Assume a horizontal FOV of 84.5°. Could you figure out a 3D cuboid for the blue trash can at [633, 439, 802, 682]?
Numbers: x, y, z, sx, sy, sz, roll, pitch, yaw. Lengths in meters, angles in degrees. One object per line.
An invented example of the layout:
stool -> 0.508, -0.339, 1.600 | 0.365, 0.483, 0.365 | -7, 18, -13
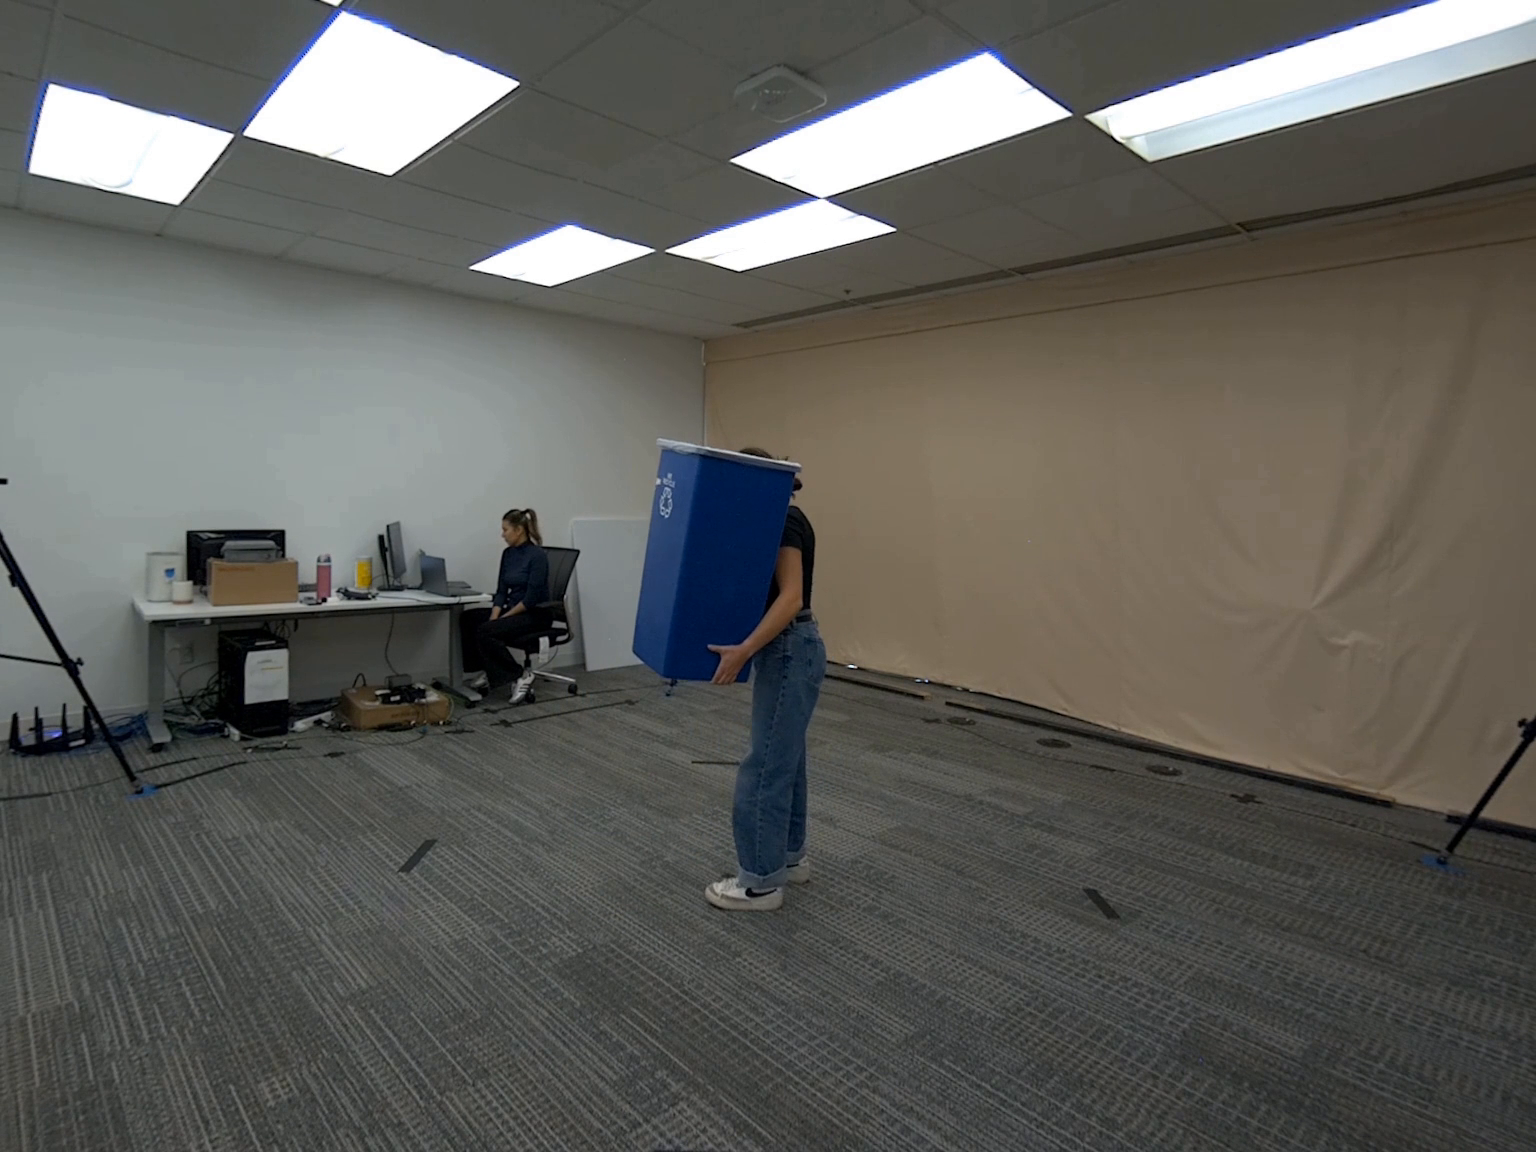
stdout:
blue trash can -> -0.200, -0.053, 2.703 | 0.370, 0.711, 0.383 | 8, 6, -28
